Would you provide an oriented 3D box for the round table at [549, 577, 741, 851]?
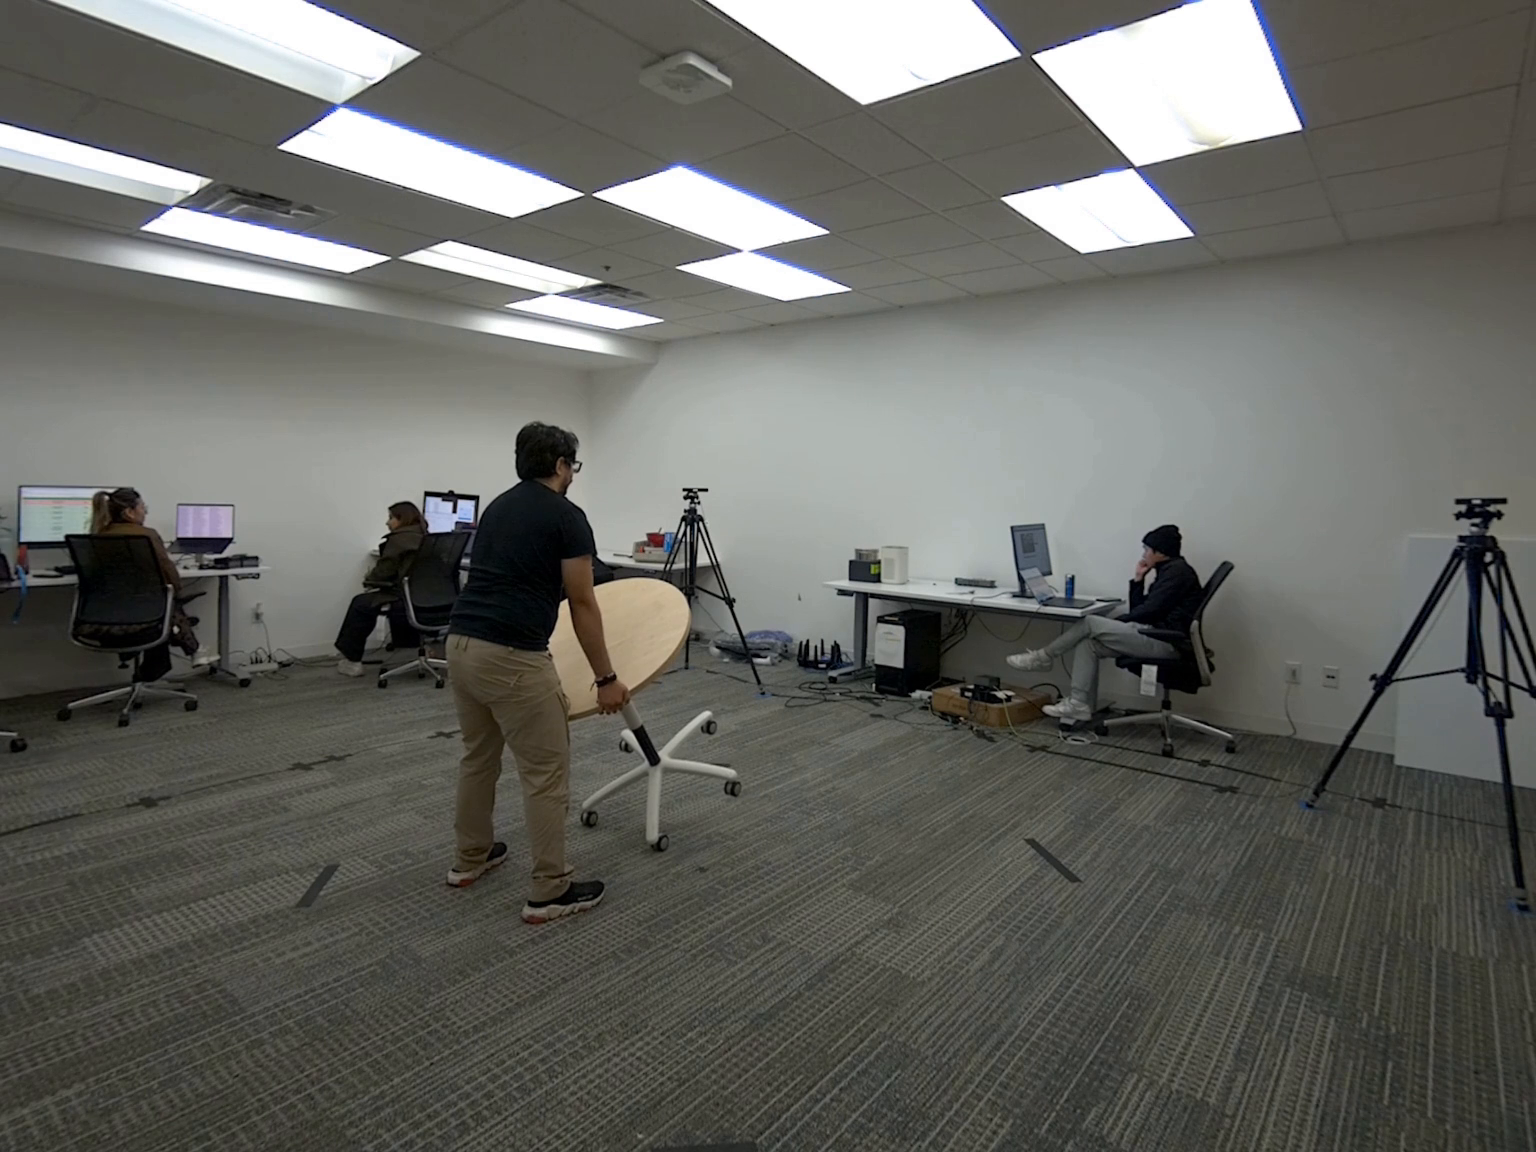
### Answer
[{"bbox_3d":[-0.554,0.562,3.353,0.790,0.761,0.806,-16,31,8],"label":"round table"}]
